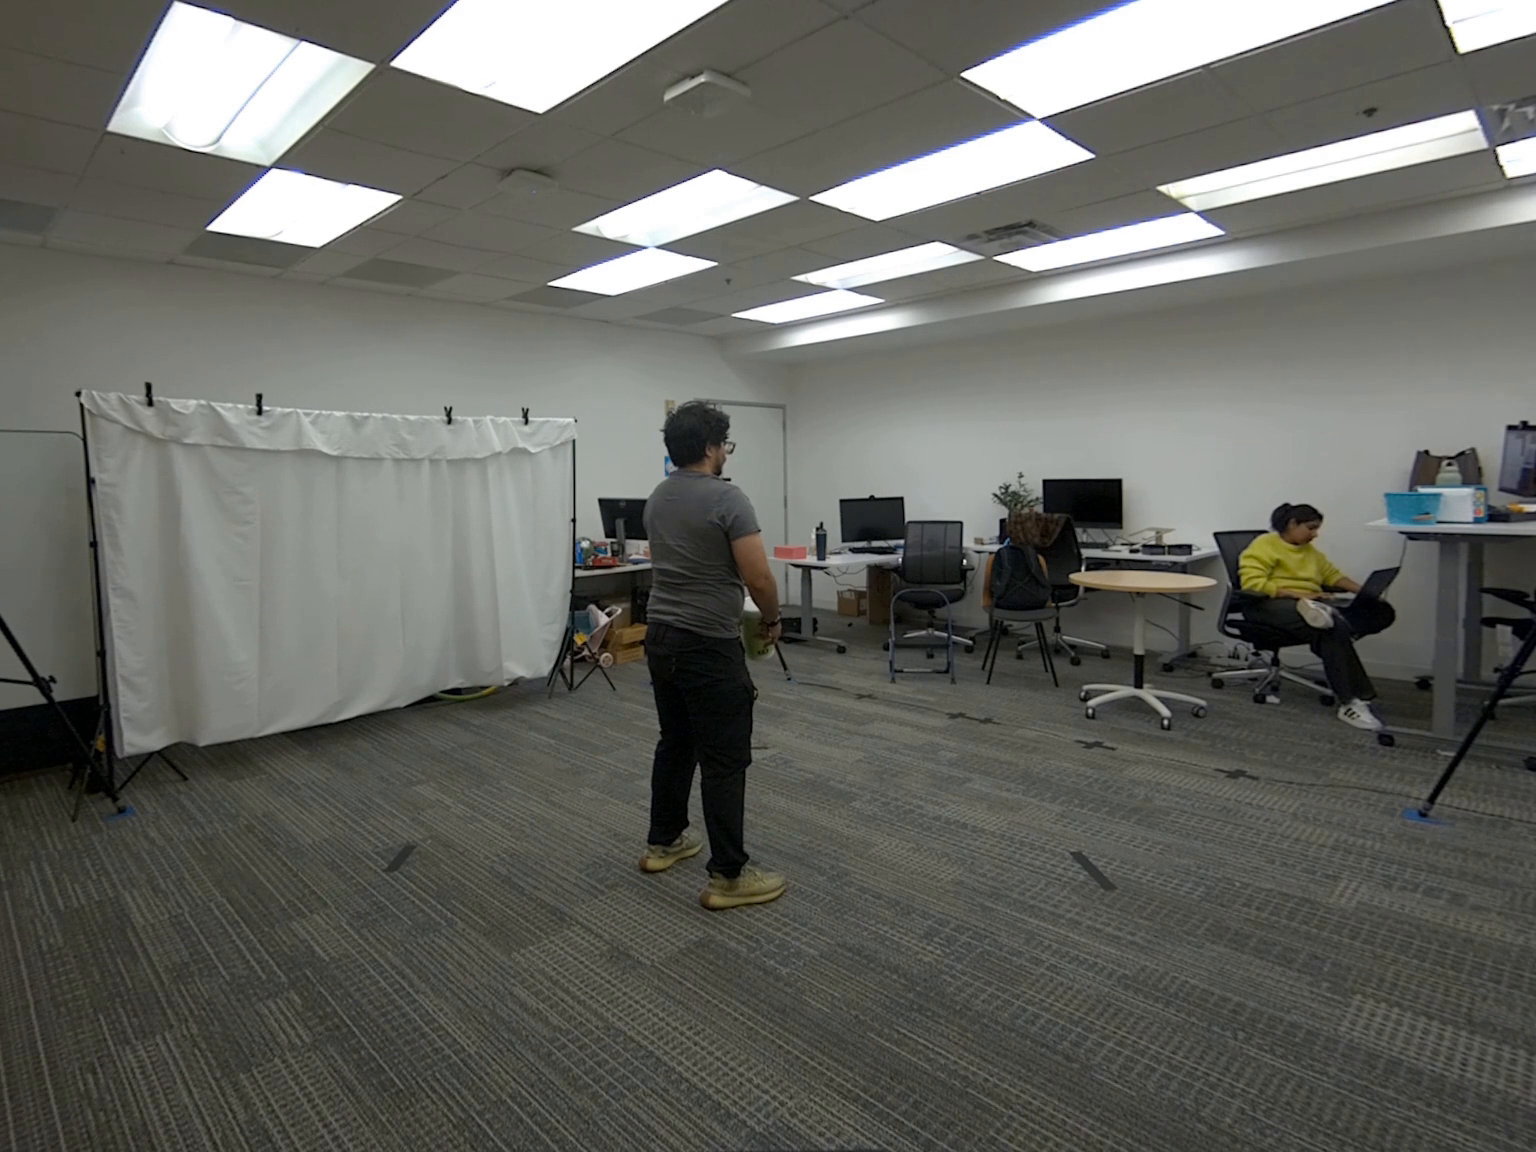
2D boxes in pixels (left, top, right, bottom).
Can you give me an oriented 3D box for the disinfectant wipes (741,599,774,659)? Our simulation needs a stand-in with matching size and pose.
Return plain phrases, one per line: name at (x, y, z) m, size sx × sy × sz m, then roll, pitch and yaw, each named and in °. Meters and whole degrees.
disinfectant wipes at (-0.046, 0.188, 3.088) m, size 0.118 × 0.212 × 0.120 m, roll -6°, pitch 26°, yaw 1°
